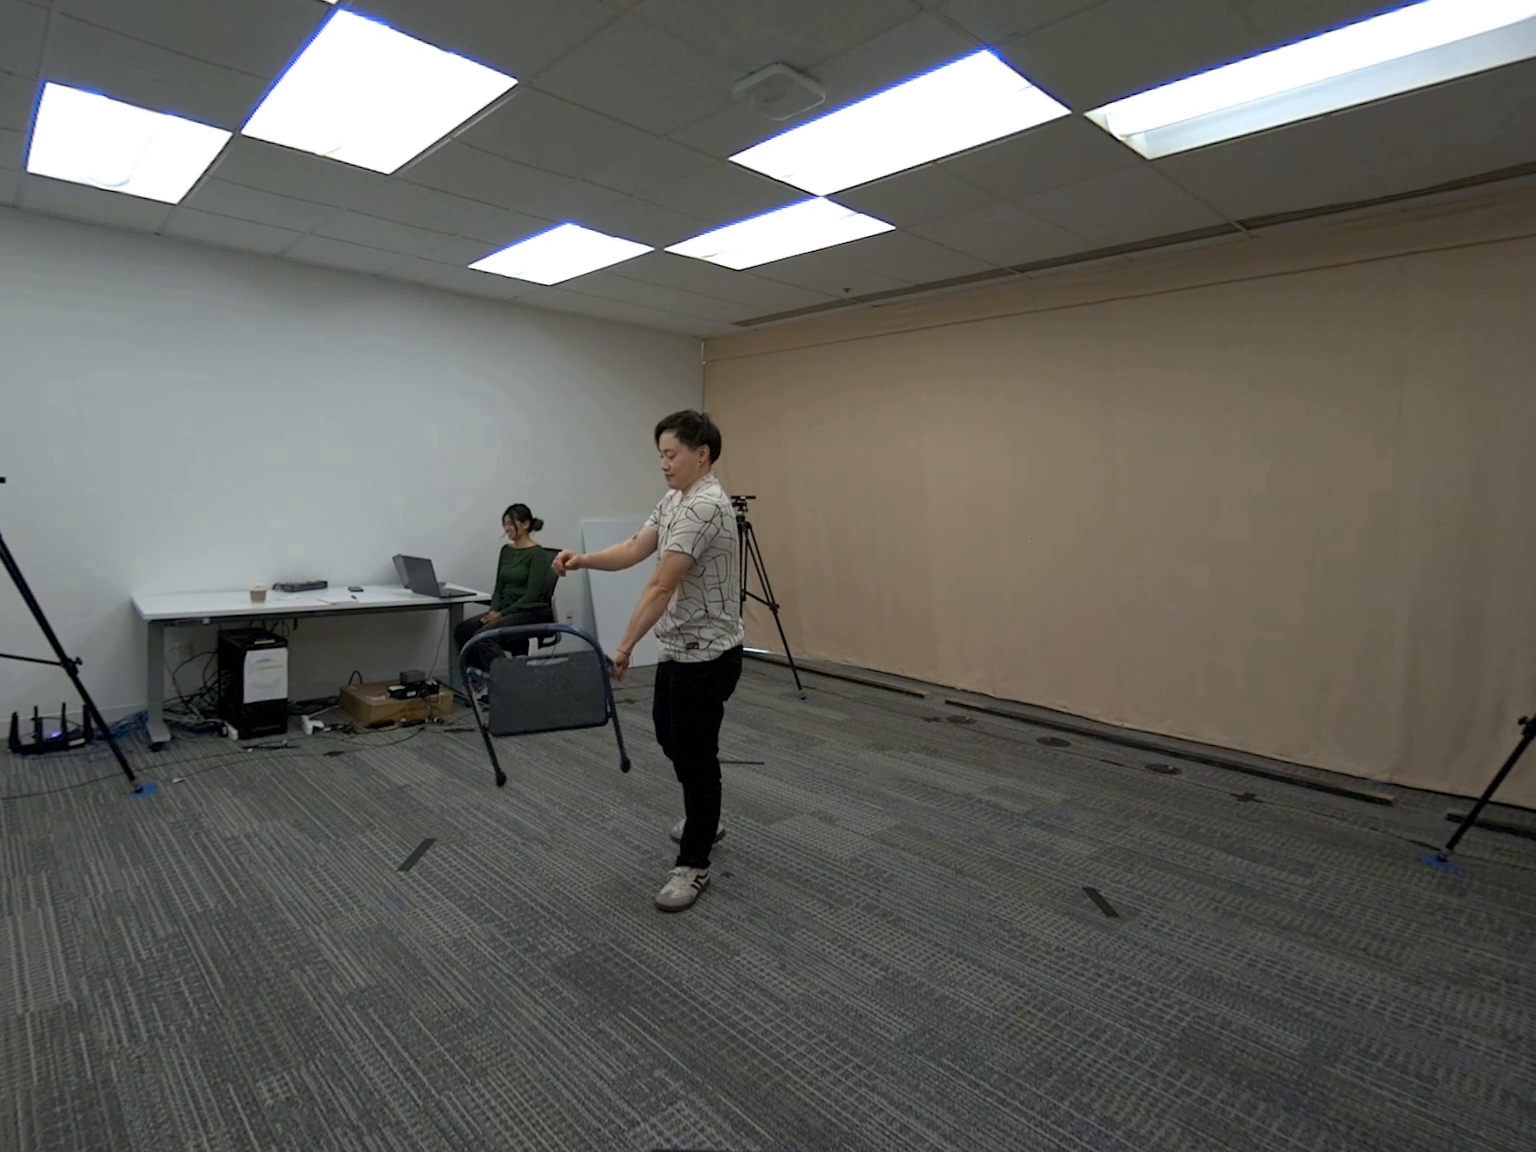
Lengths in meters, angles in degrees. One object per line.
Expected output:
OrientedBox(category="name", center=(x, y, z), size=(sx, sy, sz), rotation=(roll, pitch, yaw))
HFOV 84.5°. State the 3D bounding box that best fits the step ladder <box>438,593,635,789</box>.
OrientedBox(category="step ladder", center=(-0.653, 0.359, 2.502), size=(0.430, 0.356, 0.595), rotation=(-5, -28, -4))
